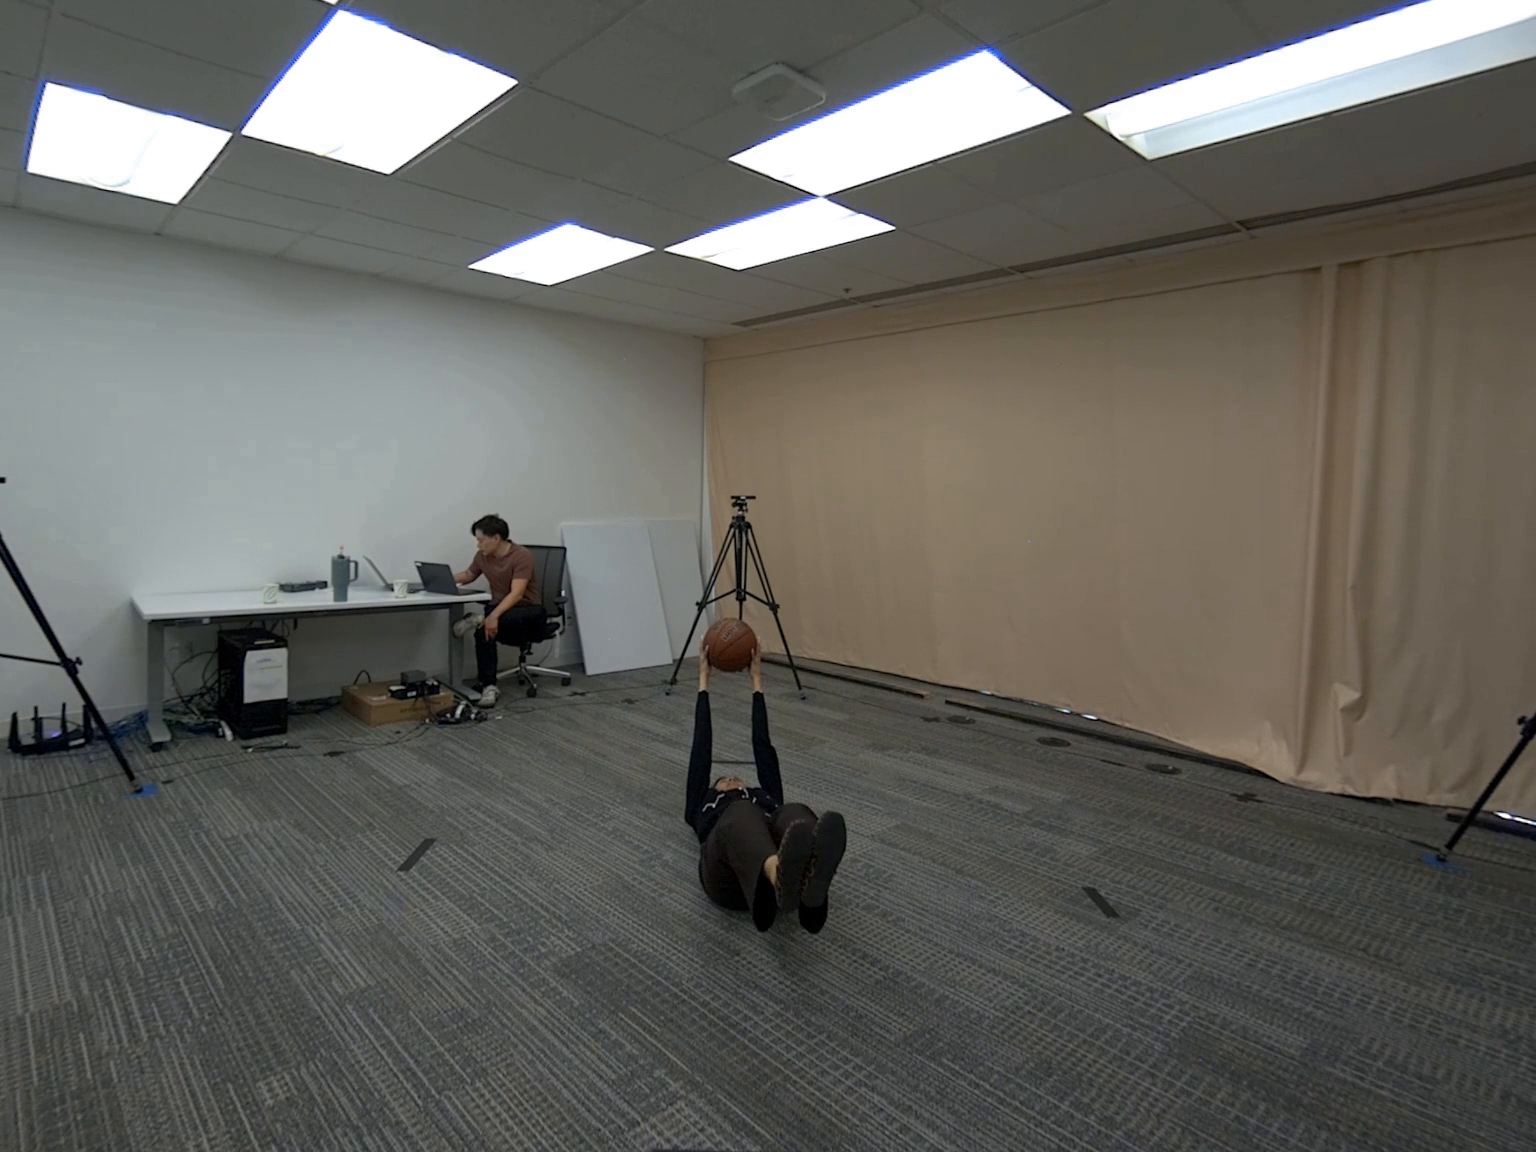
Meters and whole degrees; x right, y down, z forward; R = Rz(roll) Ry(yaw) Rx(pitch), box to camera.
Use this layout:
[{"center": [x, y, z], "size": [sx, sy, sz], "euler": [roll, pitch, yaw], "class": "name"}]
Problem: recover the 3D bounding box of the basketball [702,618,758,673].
[{"center": [-0.174, 0.299, 3.663], "size": [0.236, 0.235, 0.237], "euler": [1, 4, -1], "class": "basketball"}]
